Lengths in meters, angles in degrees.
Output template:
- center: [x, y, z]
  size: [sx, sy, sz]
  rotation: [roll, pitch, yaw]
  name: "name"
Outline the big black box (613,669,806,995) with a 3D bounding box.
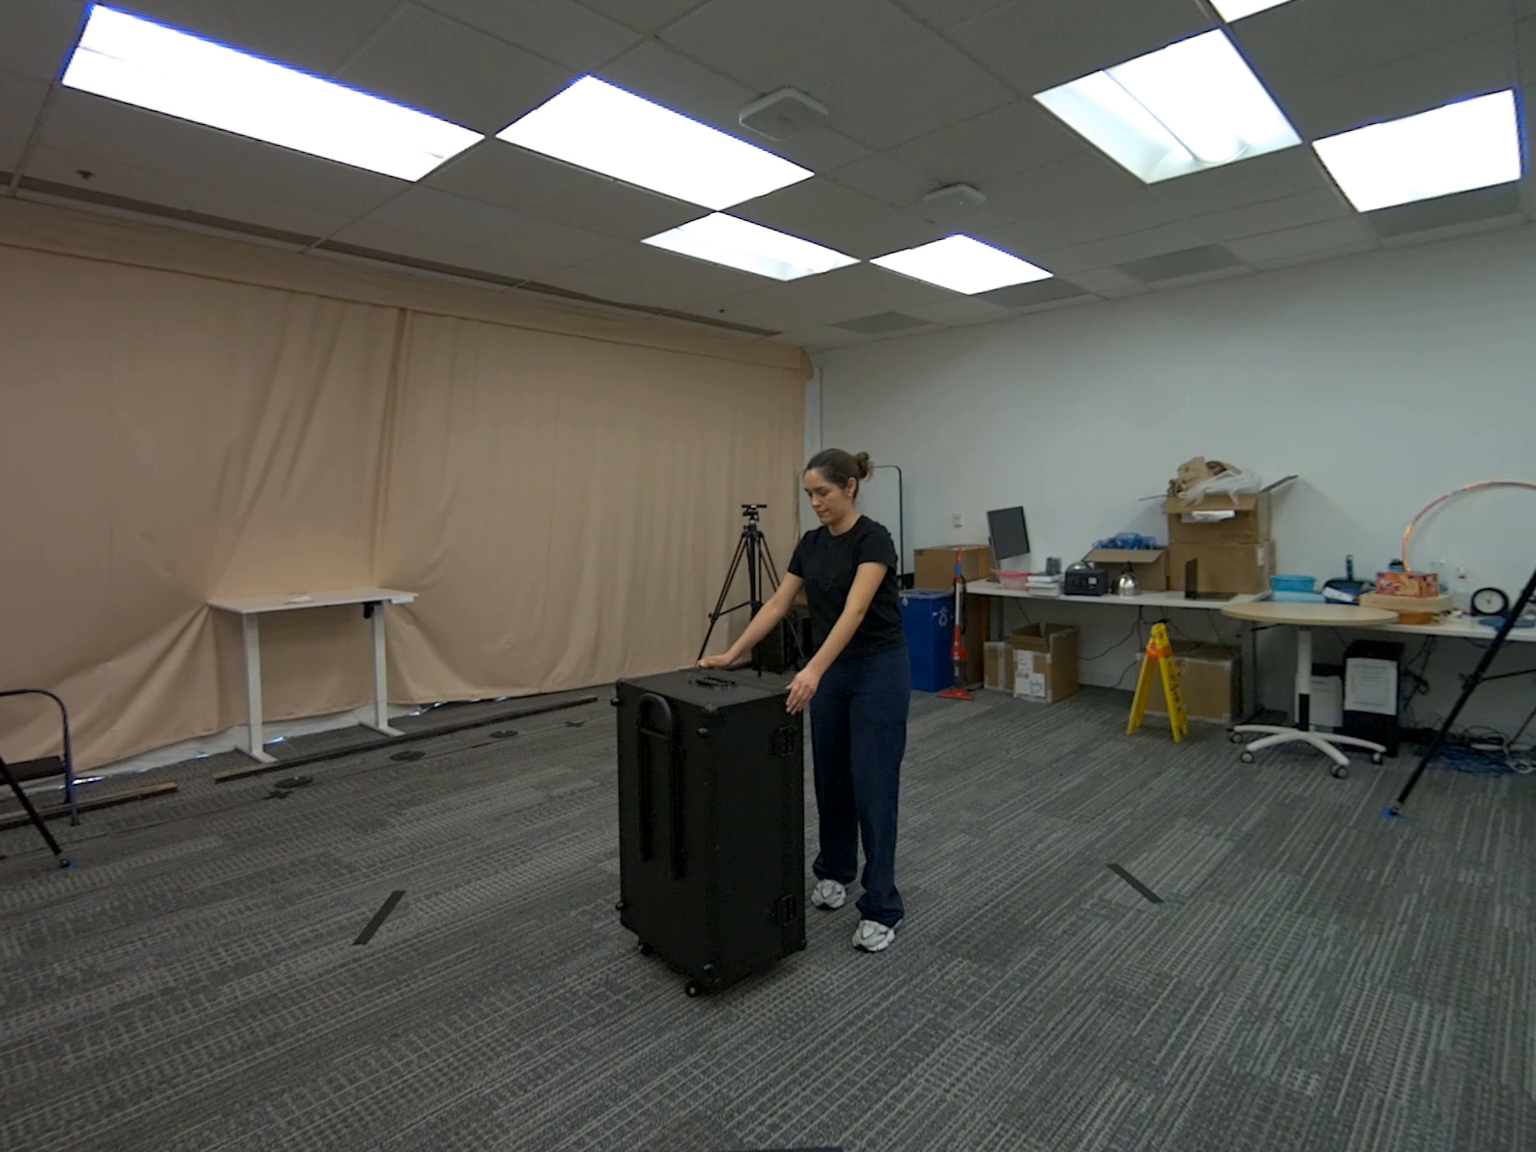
- center: [-0.162, 0.751, 2.559]
  size: [0.384, 0.859, 0.538]
  rotation: [-4, 5, -39]
  name: "big black box"
